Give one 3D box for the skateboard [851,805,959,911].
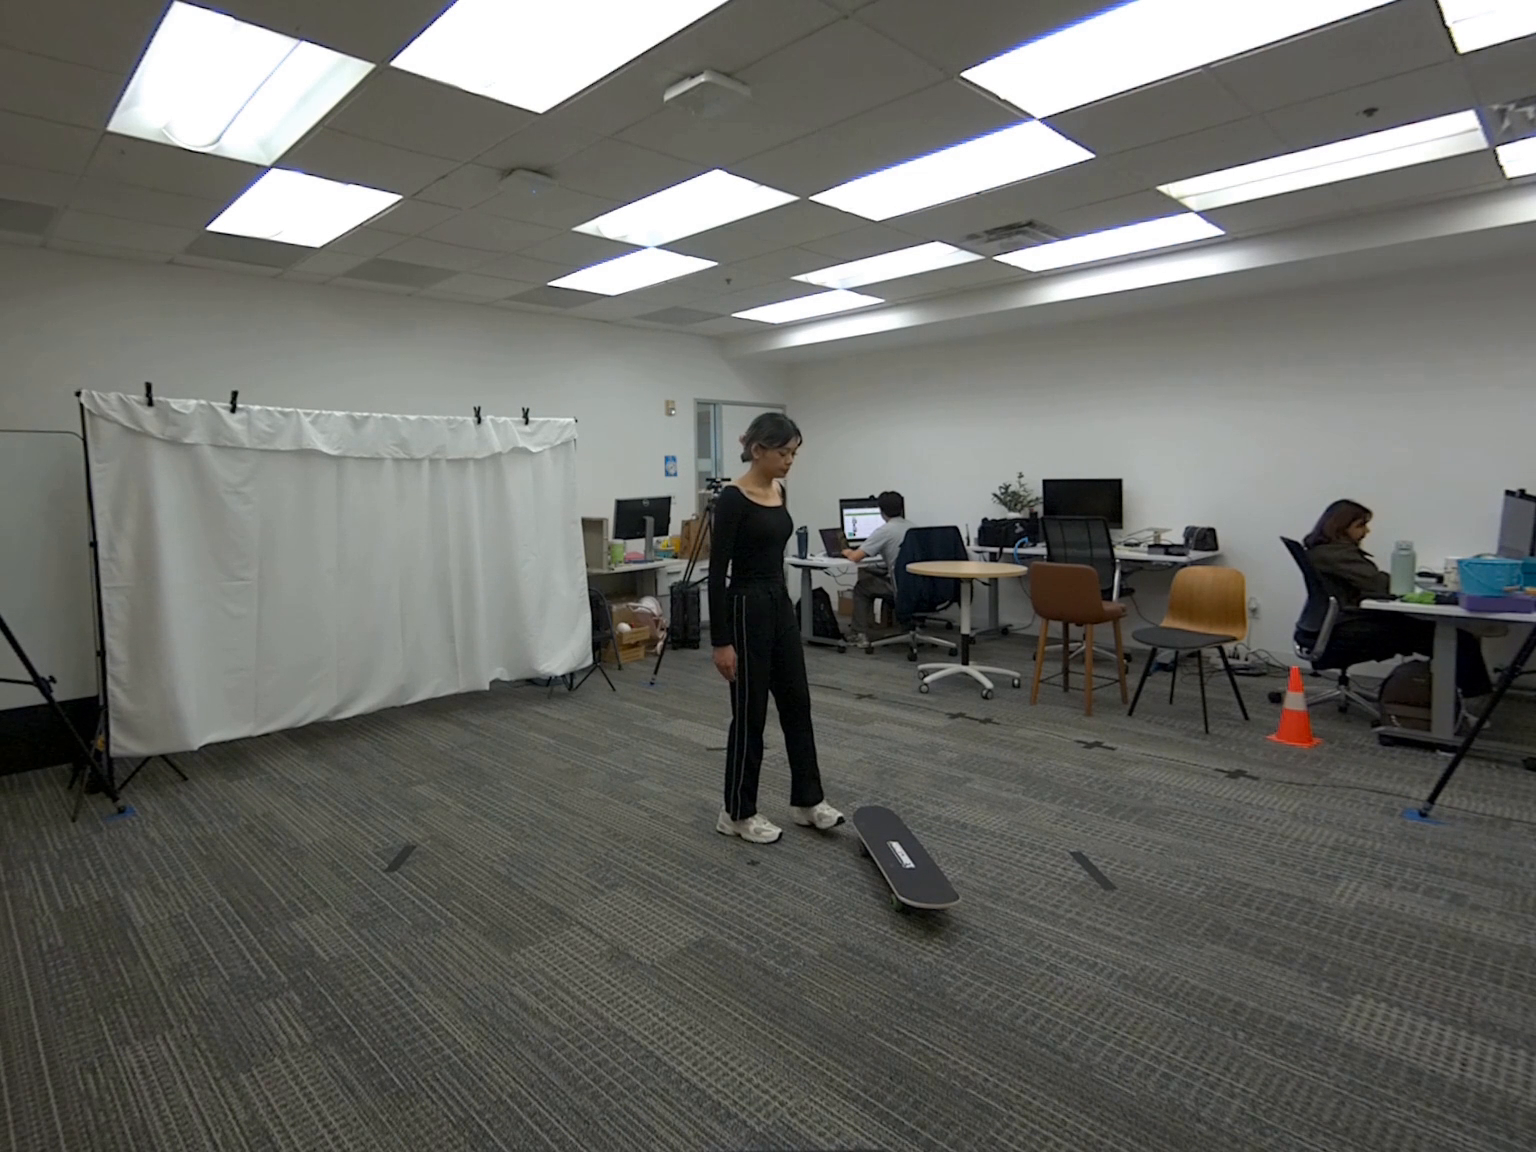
[{"bbox_3d":[0.467,0.997,2.954,0.192,0.110,0.793,-2,6,-7],"label":"skateboard"}]
